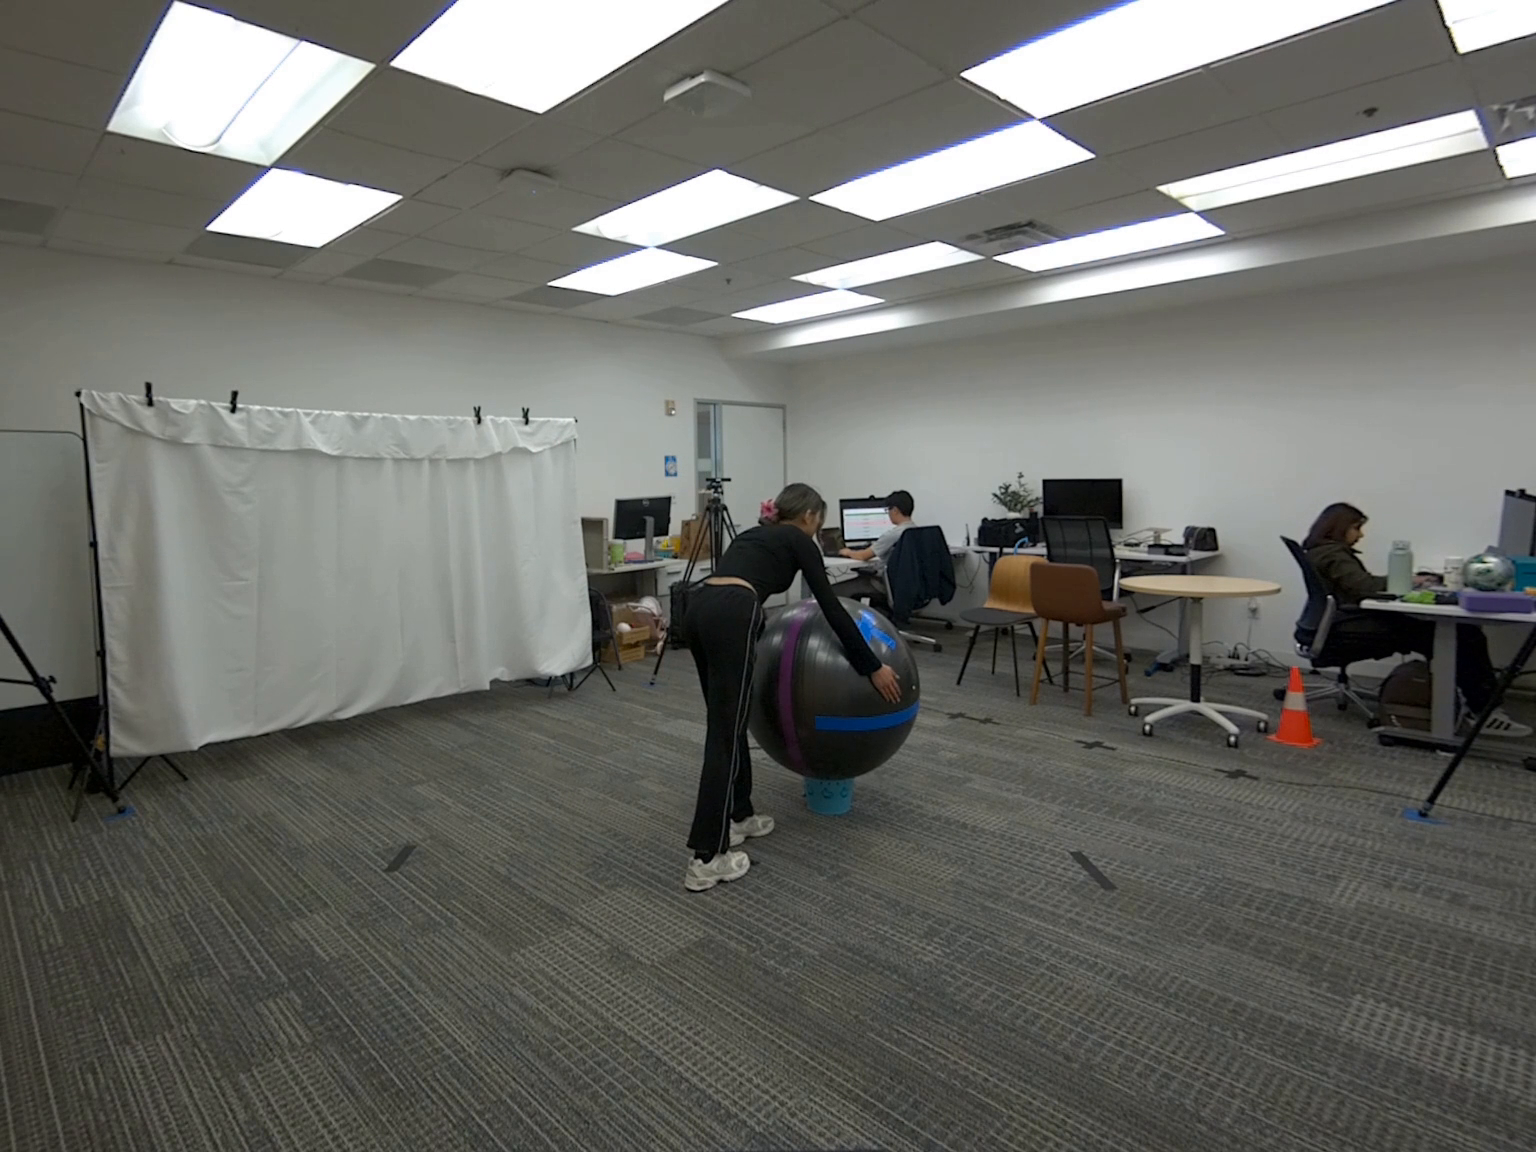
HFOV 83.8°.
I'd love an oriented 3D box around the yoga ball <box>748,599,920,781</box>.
[{"bbox_3d":[0.254,0.468,3.609,0.757,0.755,0.762,-1,5,-2],"label":"yoga ball"}]
